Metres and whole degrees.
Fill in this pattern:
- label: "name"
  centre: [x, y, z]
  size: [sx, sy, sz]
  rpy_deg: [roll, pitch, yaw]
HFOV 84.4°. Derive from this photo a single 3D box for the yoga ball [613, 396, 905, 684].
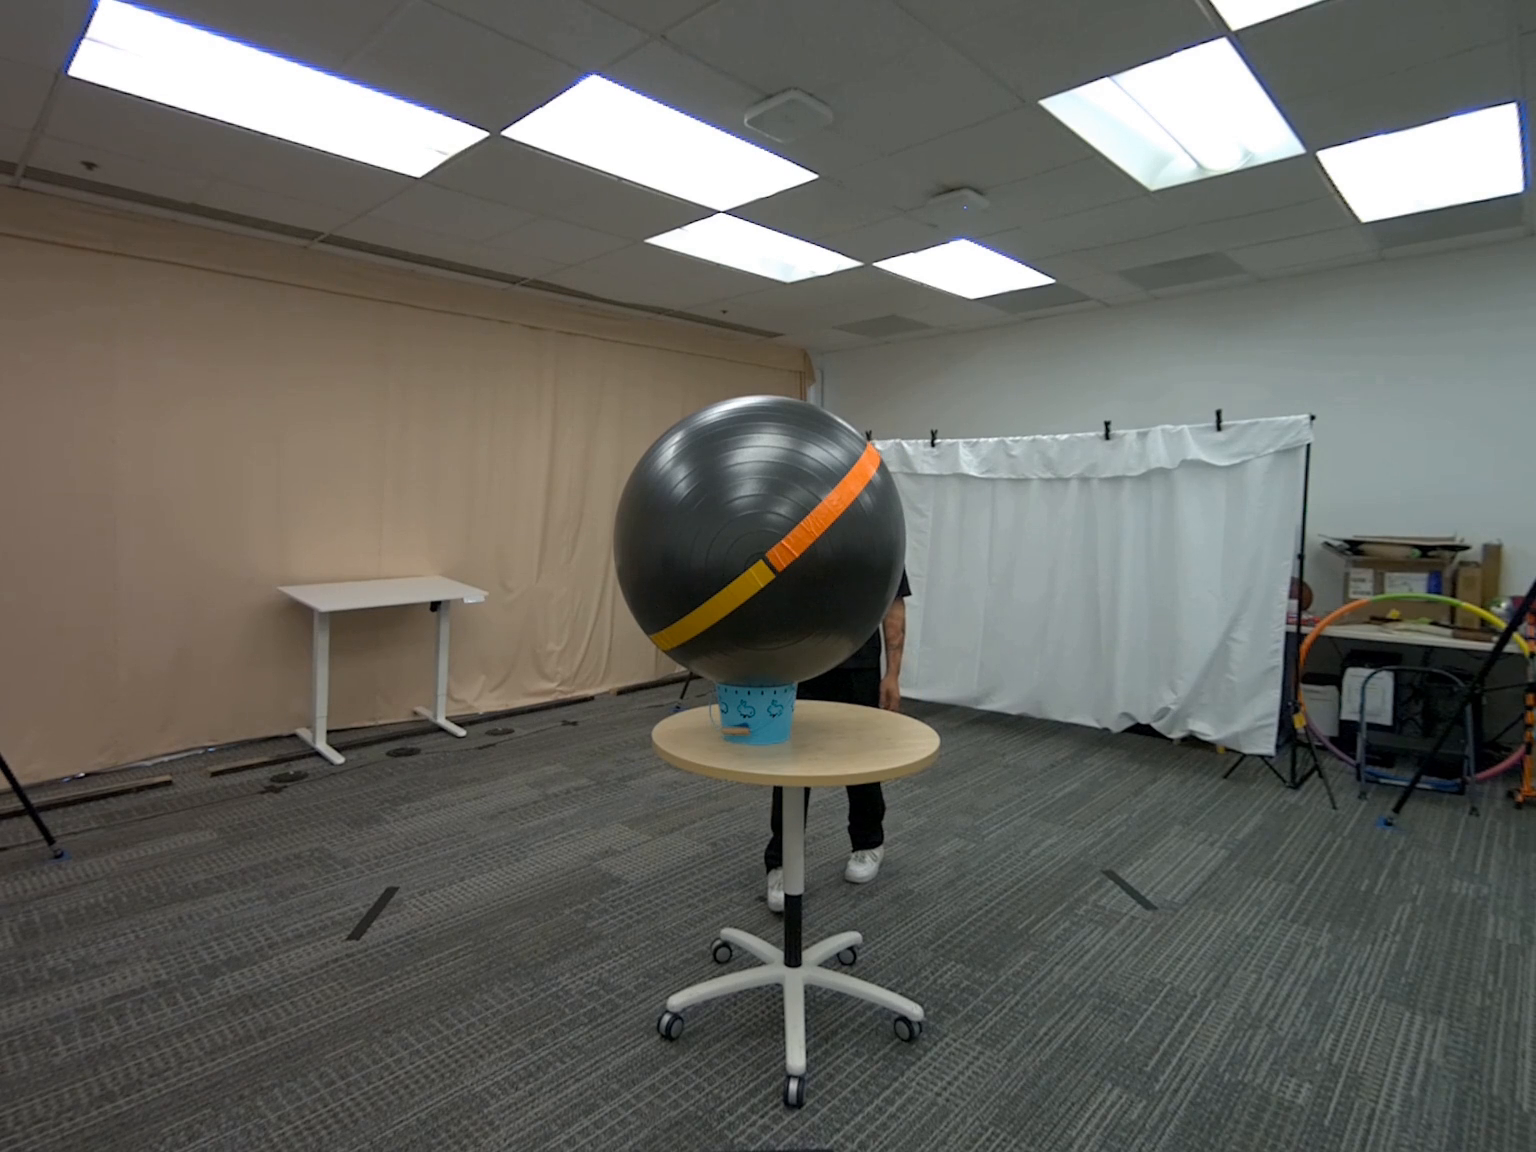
- label: "yoga ball"
  centre: [-0.025, -0.084, 2.210]
  size: [0.757, 0.756, 0.760]
  rpy_deg: [0, 4, -2]
